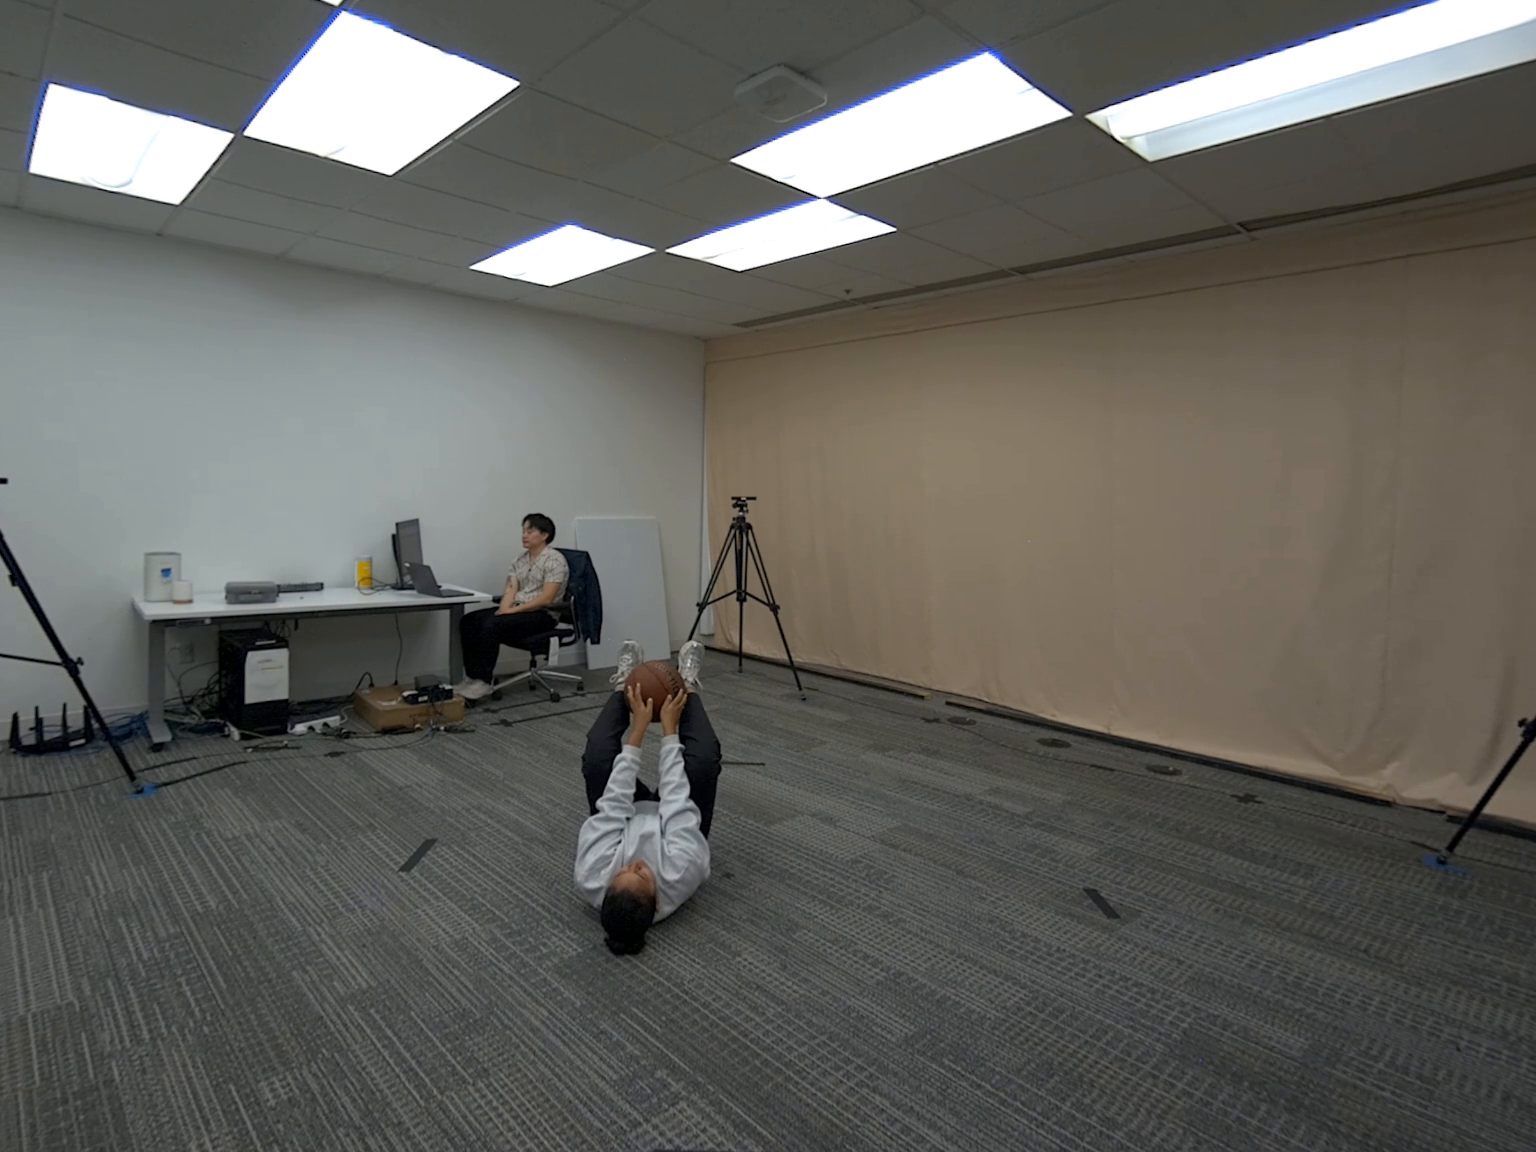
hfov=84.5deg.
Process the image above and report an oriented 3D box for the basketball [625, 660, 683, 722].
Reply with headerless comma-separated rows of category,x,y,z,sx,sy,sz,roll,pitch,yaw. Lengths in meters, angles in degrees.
basketball,-0.448,0.443,3.263,0.236,0.235,0.237,1,4,-1
